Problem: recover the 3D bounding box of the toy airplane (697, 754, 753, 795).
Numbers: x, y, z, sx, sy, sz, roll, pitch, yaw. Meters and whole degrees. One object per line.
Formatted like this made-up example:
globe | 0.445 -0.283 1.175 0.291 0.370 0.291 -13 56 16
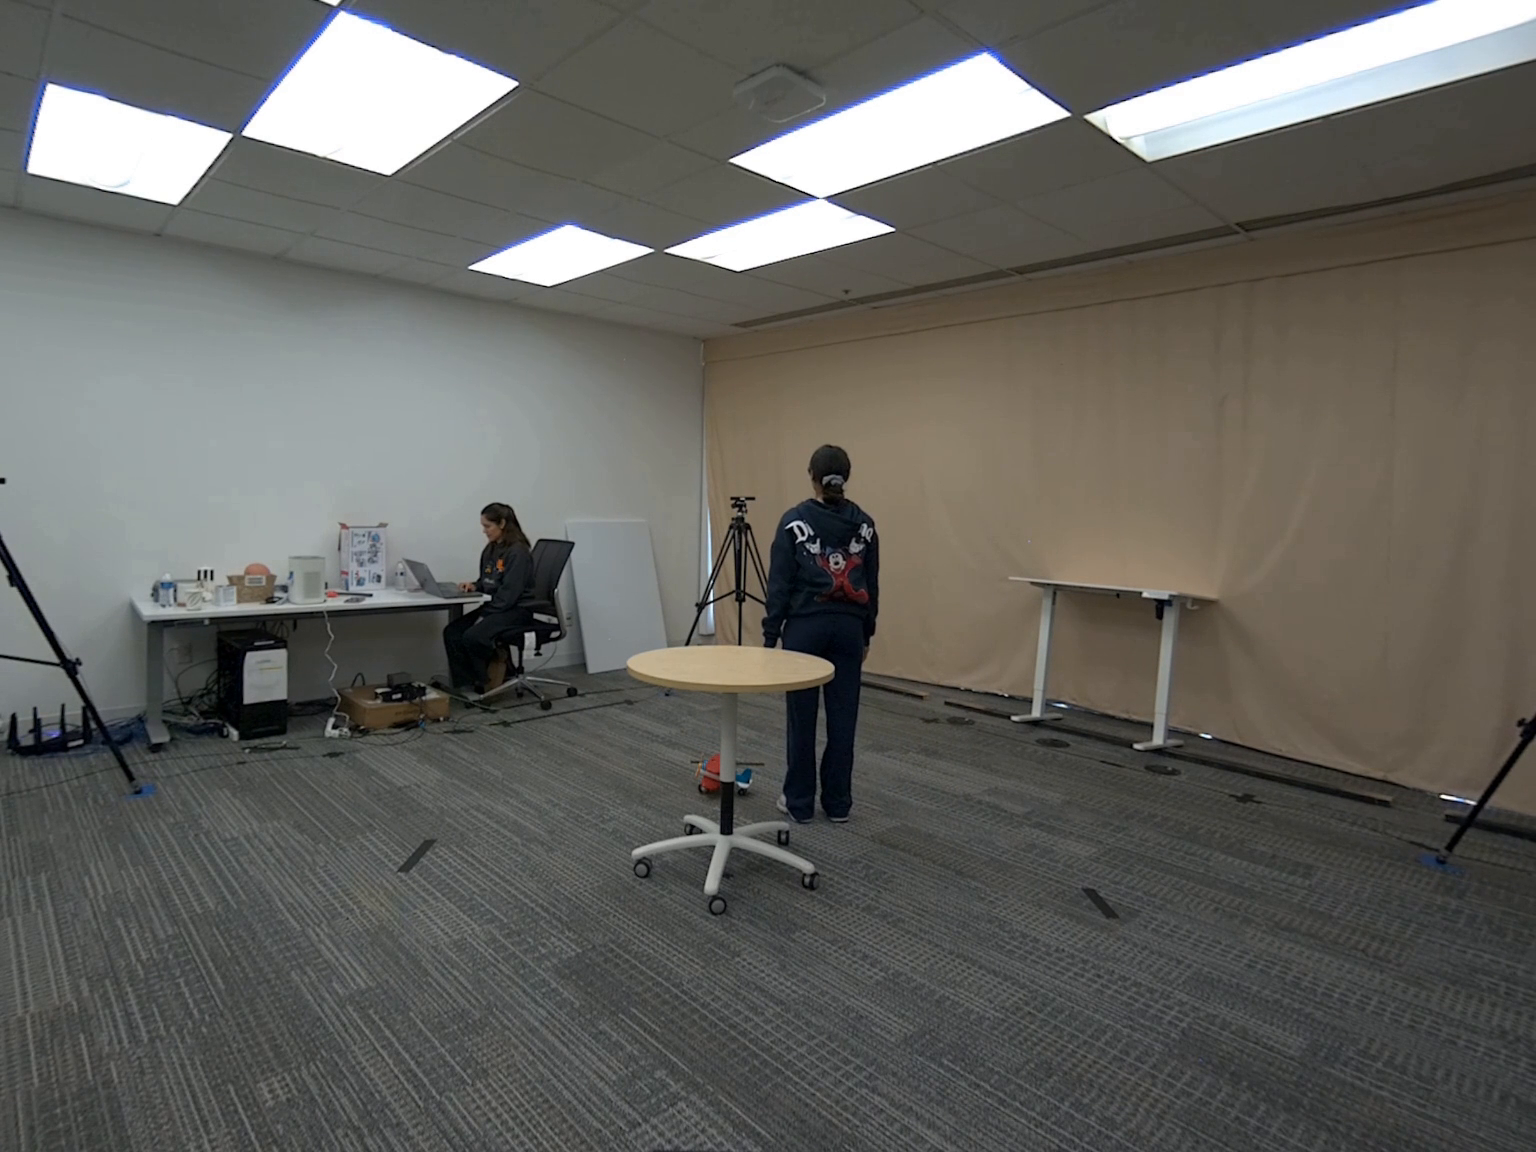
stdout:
toy airplane | -0.218 0.943 4.008 0.256 0.156 0.255 0 5 -16
